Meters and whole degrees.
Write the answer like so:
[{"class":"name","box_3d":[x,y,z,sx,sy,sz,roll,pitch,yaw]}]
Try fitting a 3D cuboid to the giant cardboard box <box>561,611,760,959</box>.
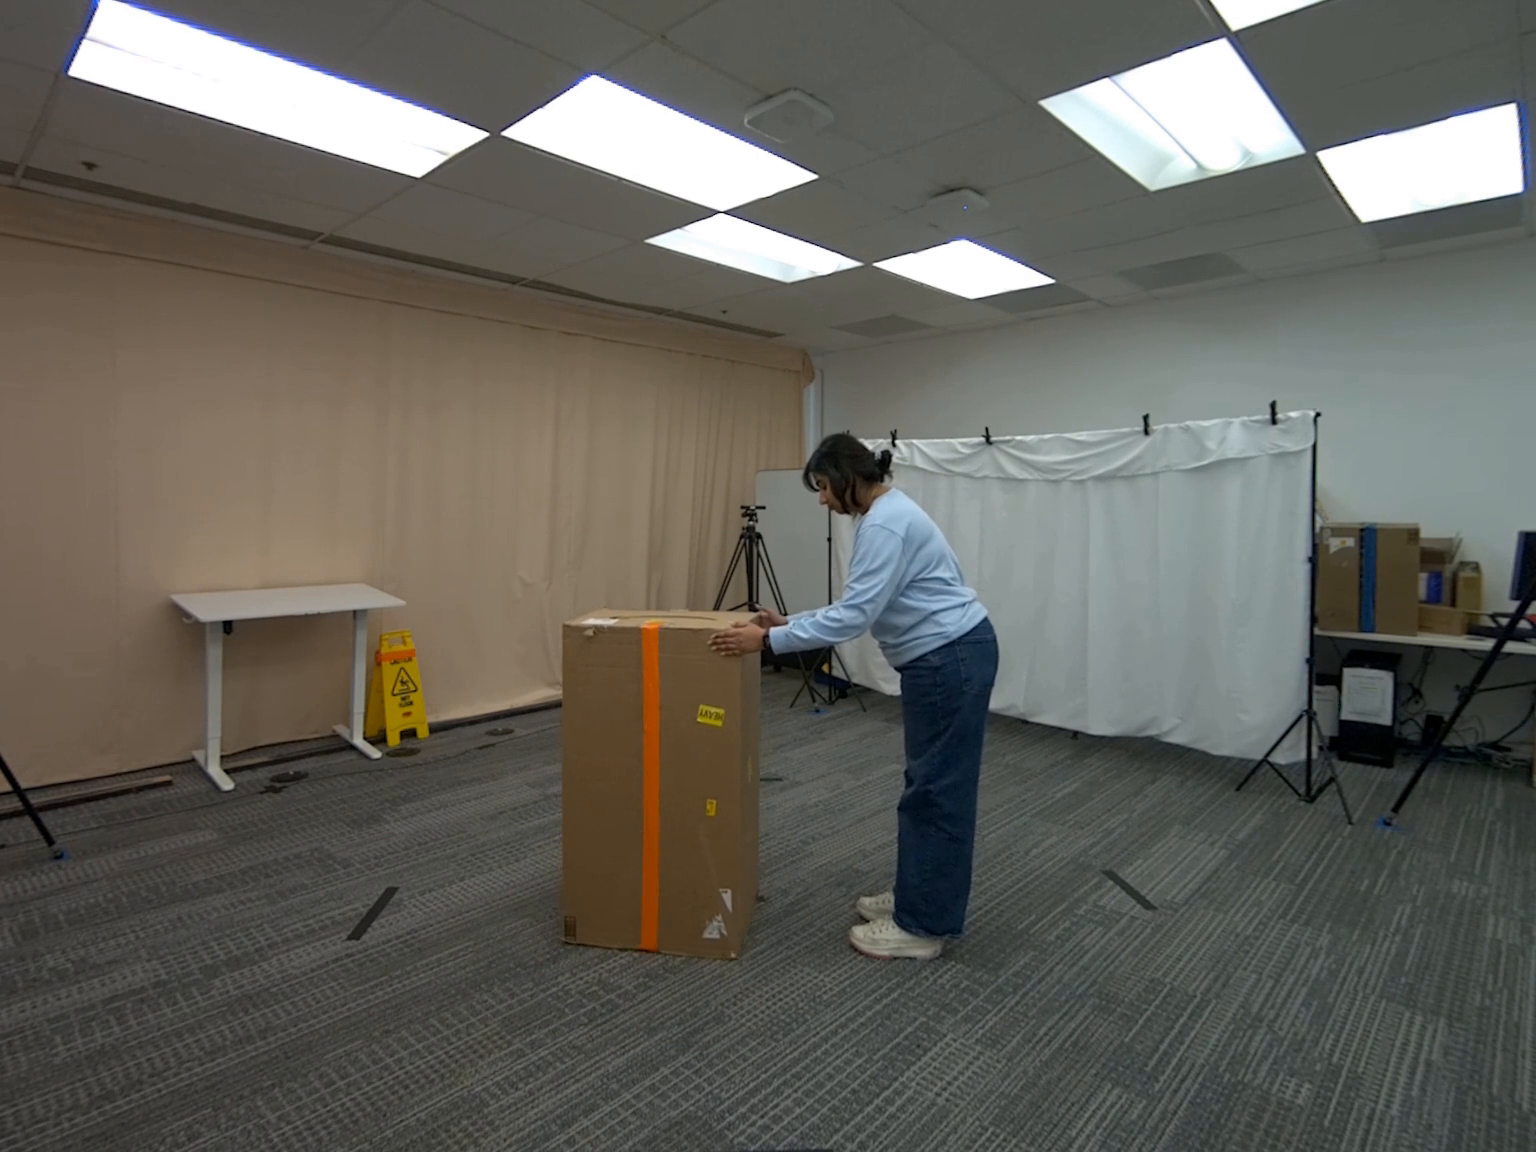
[{"class":"giant cardboard box","box_3d":[-0.341,0.651,2.815,0.584,1.024,0.422,1,3,10]}]
